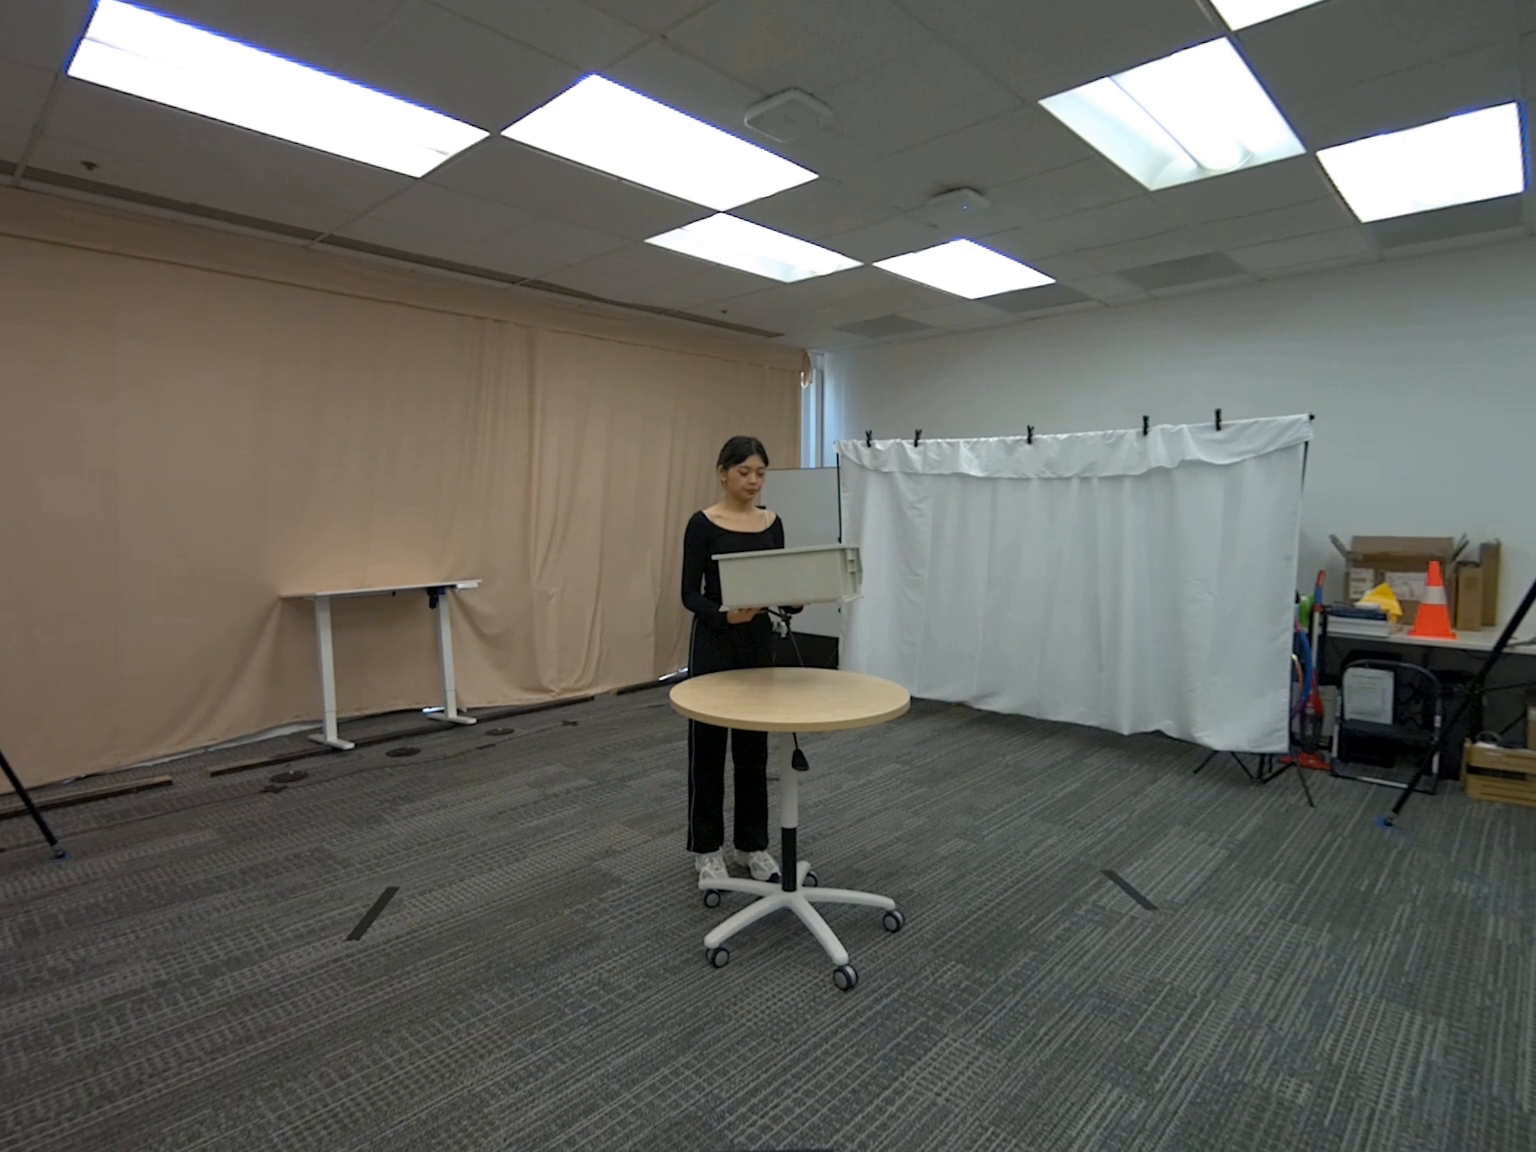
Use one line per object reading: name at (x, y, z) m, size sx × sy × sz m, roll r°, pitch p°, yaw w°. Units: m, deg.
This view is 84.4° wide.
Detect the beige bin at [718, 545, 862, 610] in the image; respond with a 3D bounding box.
beige bin at (0.079, 0.006, 2.797) m, size 0.429 × 0.189 × 0.371 m, roll -4°, pitch 1°, yaw 16°
